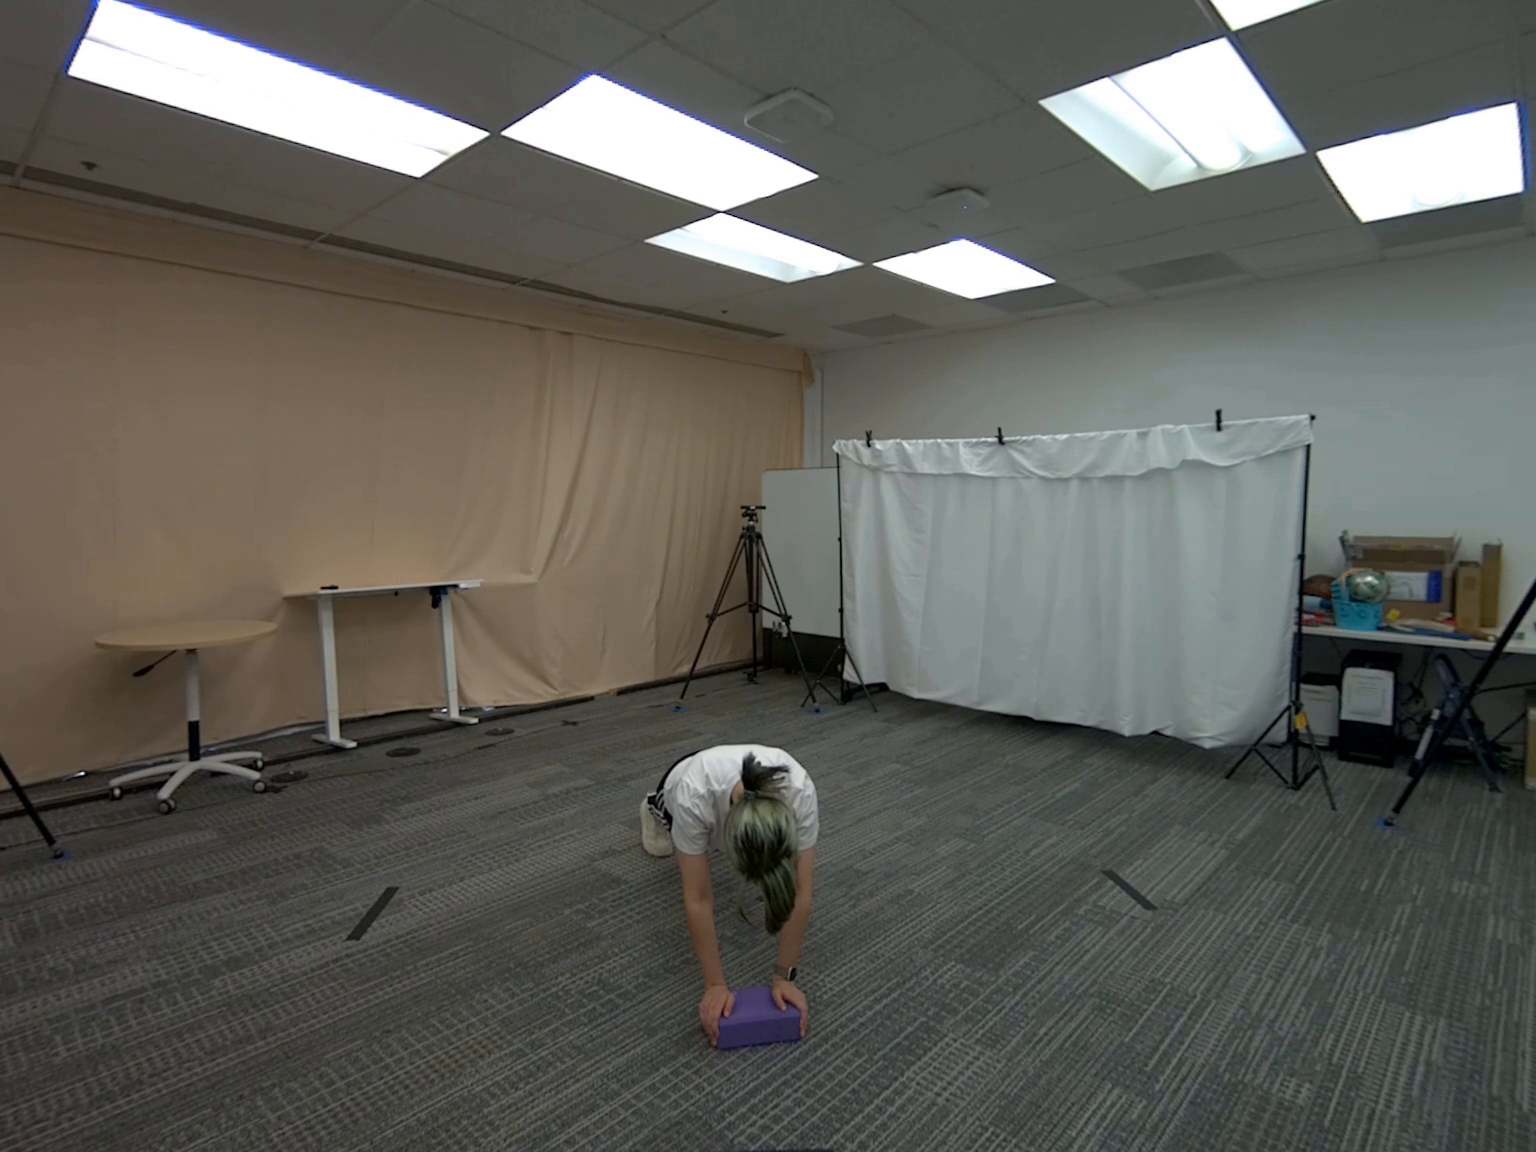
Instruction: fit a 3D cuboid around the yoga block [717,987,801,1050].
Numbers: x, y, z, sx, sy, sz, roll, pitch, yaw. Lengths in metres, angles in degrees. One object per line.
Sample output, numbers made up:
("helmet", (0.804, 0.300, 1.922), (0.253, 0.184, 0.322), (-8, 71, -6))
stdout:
("yoga block", (-0.042, 1.168, 2.244), (0.227, 0.076, 0.151), (0, 4, -11))
